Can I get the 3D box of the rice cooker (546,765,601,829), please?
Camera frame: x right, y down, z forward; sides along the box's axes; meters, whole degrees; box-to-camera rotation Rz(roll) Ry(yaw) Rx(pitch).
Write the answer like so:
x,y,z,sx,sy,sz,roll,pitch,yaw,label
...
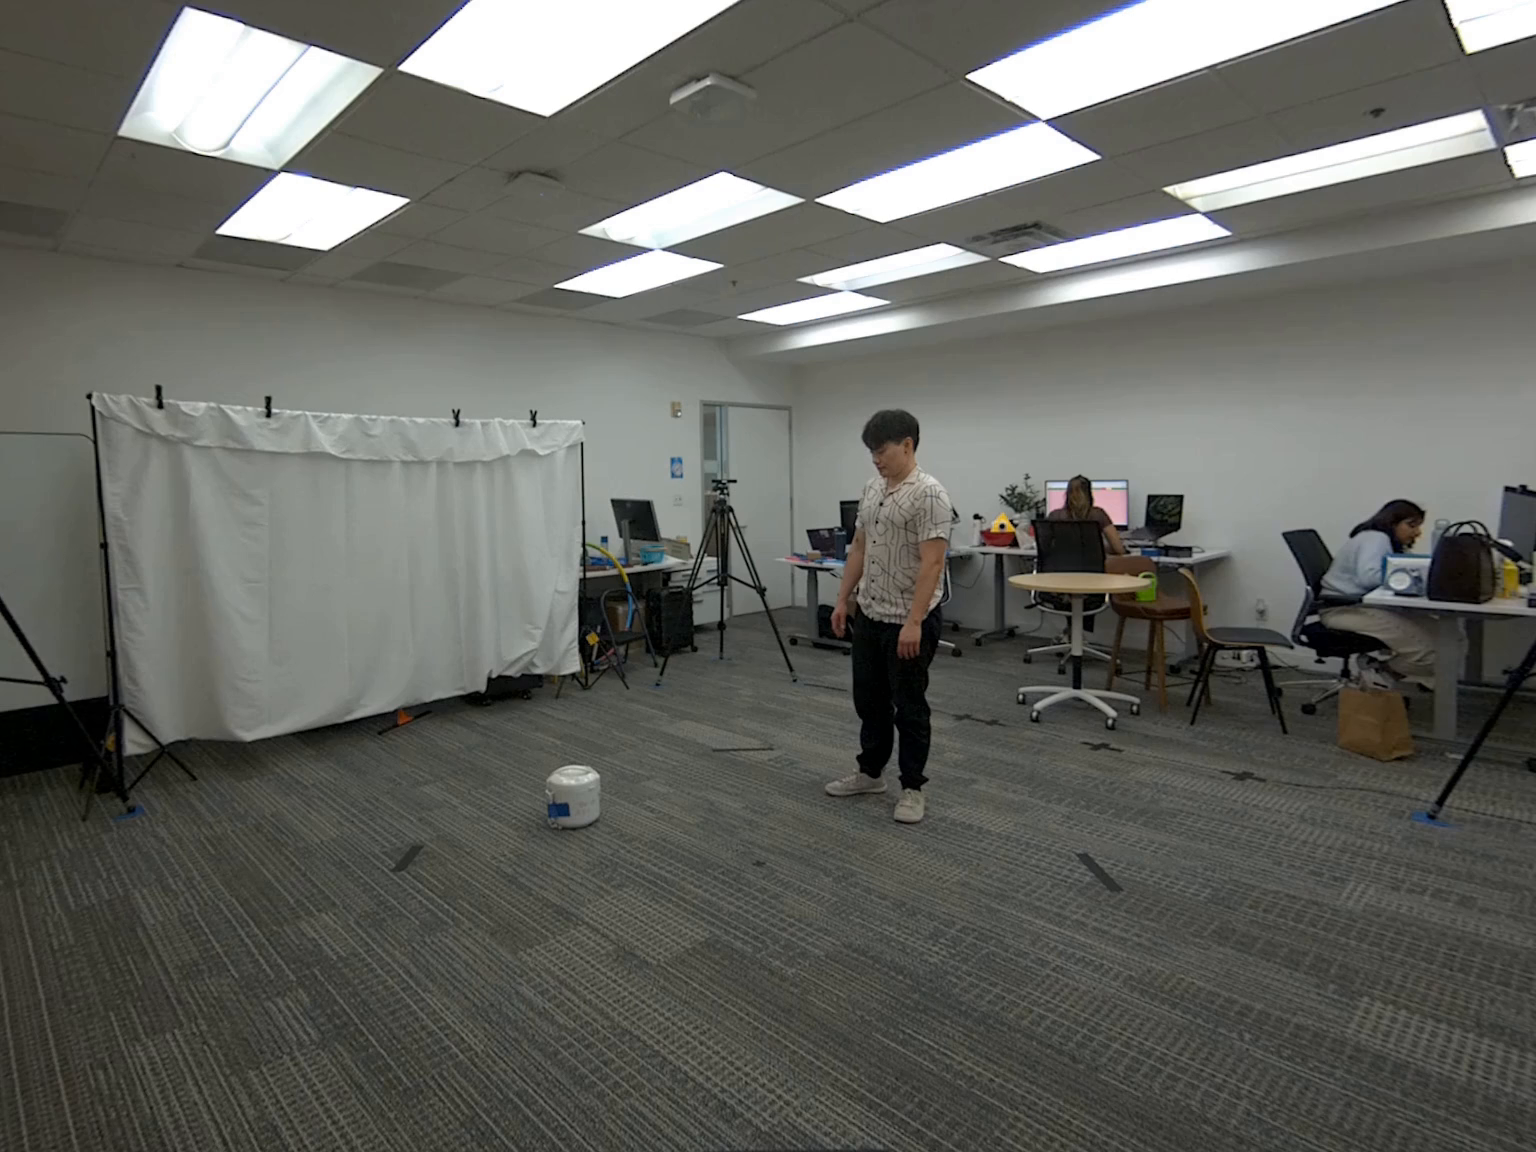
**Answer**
x,y,z,sx,sy,sz,roll,pitch,yaw,label
-0.801,0.898,3.532,0.220,0.232,0.219,0,5,-3,rice cooker
